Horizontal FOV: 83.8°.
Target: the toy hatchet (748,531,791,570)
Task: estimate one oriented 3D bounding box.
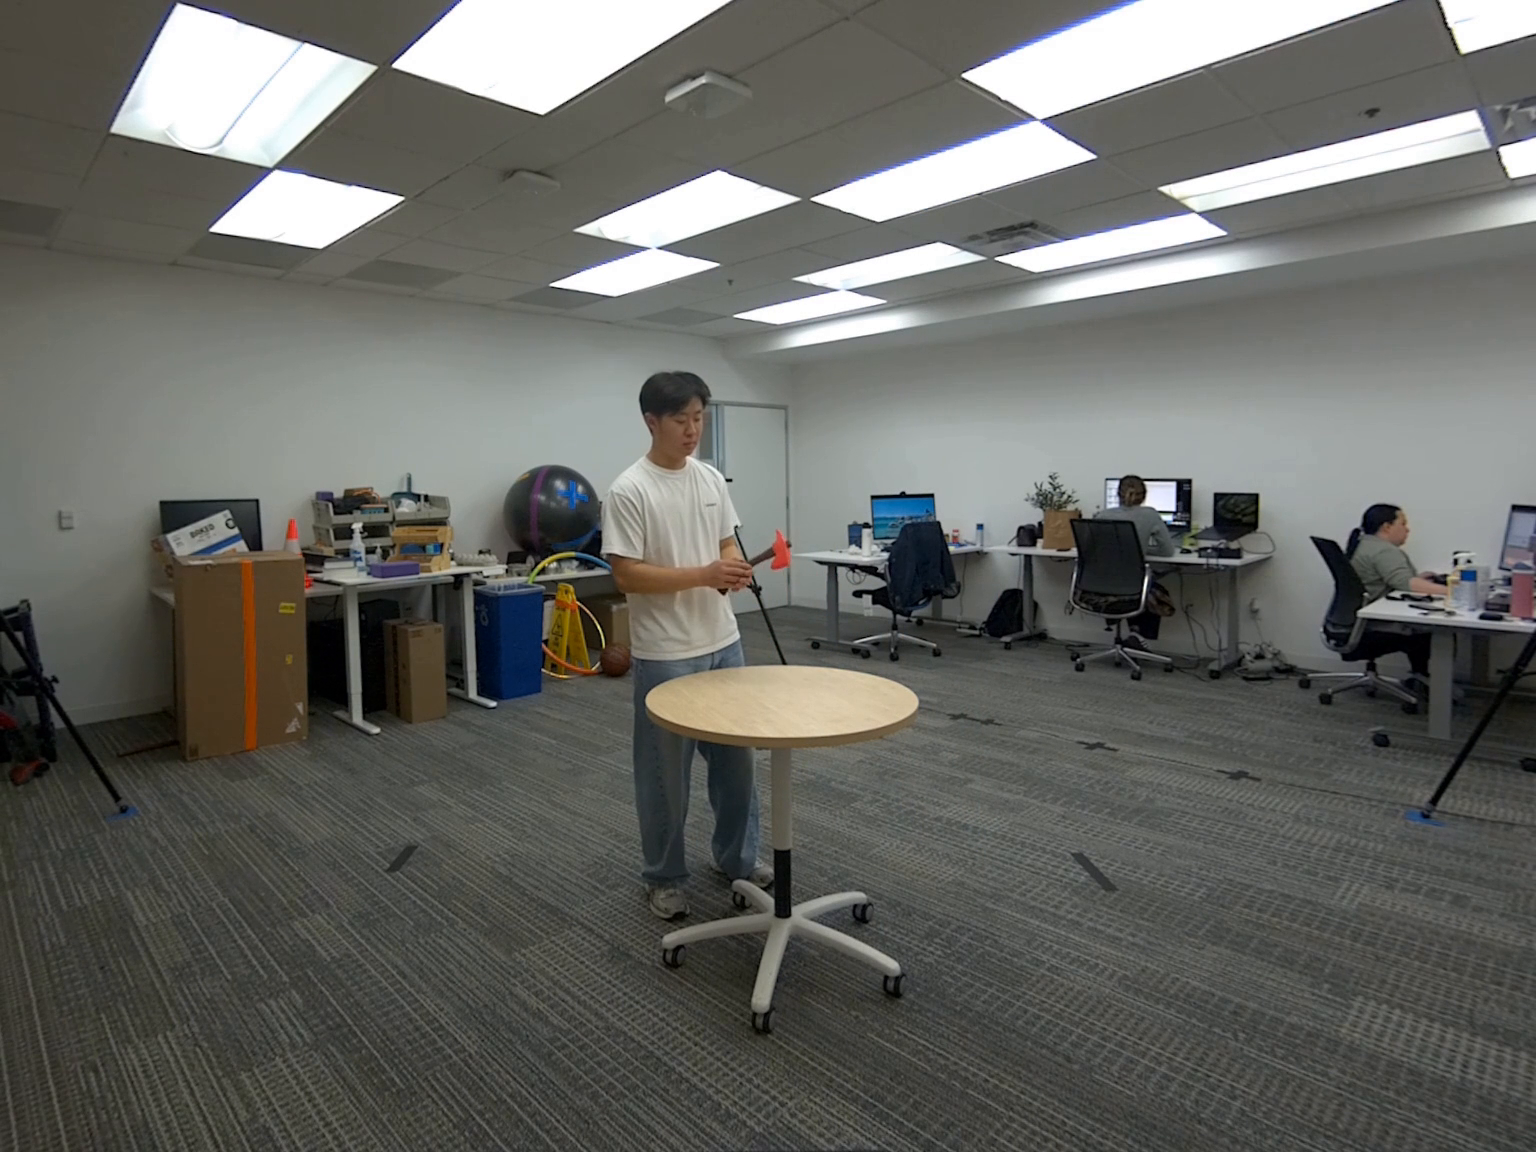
[{"bbox_3d":[-0.034,-0.017,2.559,0.028,0.270,0.136,39,13,-46],"label":"toy hatchet"}]
